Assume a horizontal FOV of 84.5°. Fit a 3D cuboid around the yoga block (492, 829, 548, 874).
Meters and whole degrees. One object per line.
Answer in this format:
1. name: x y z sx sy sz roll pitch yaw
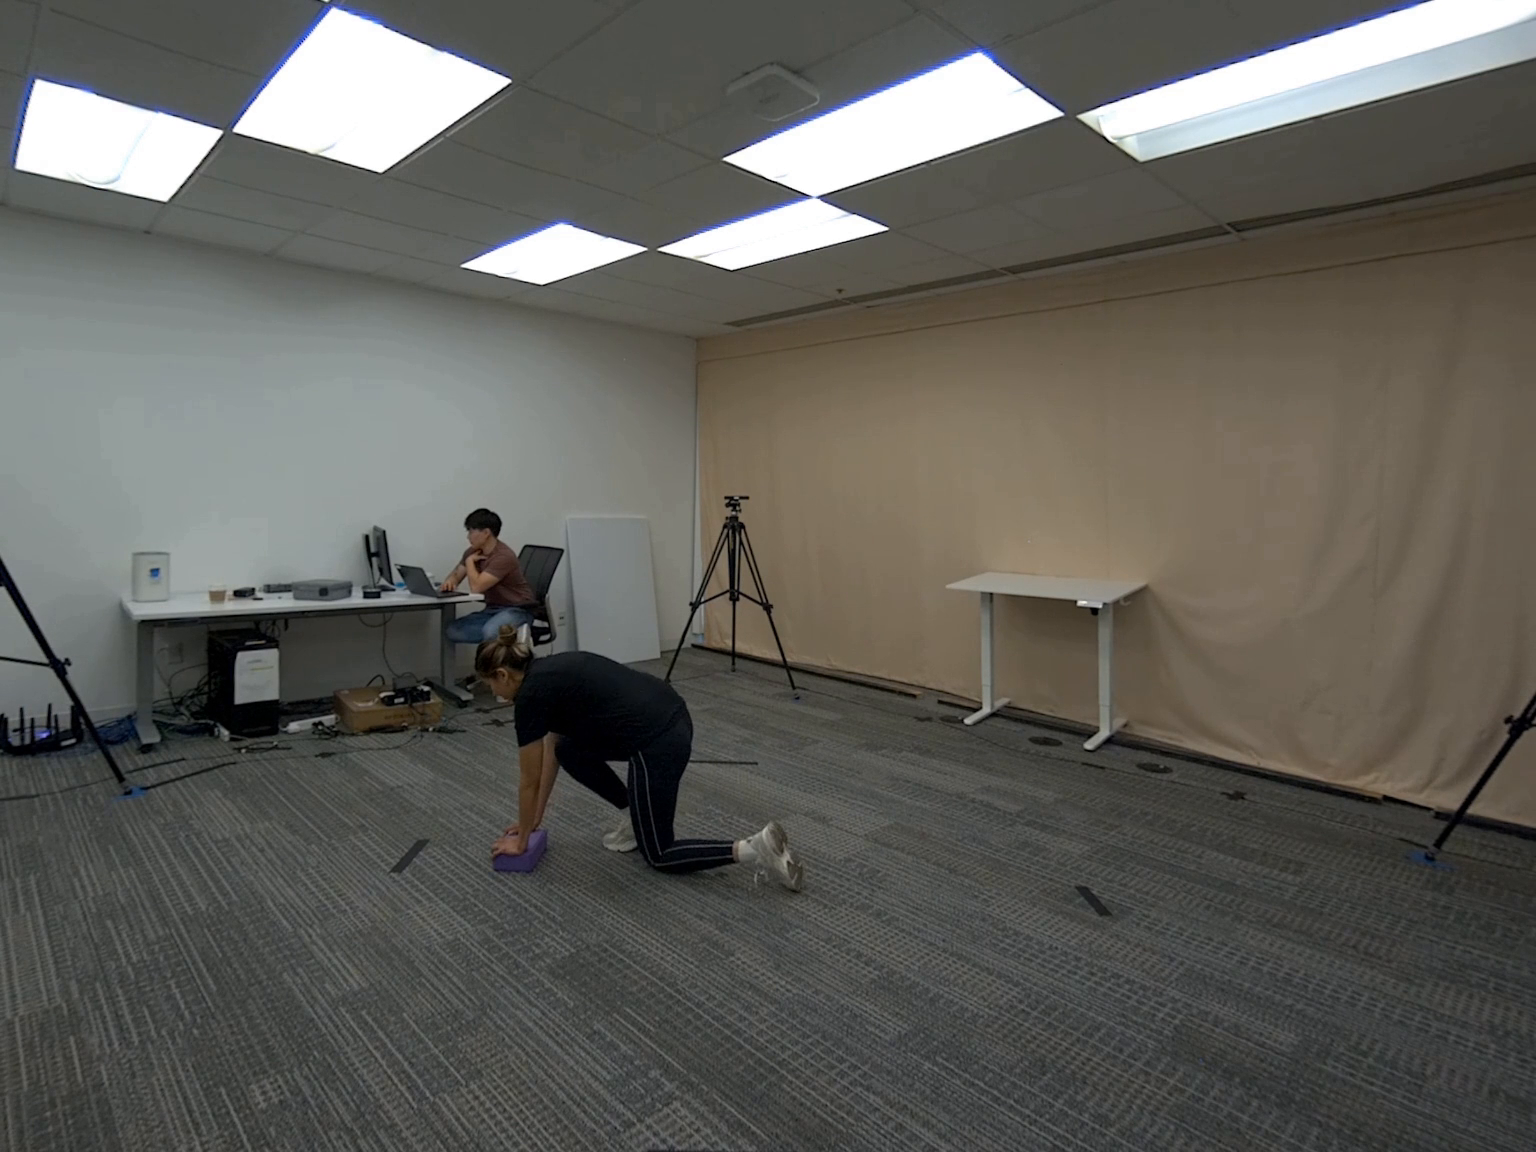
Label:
1. yoga block: -0.942 1.038 3.198 0.149 0.076 0.230 -3 7 1
